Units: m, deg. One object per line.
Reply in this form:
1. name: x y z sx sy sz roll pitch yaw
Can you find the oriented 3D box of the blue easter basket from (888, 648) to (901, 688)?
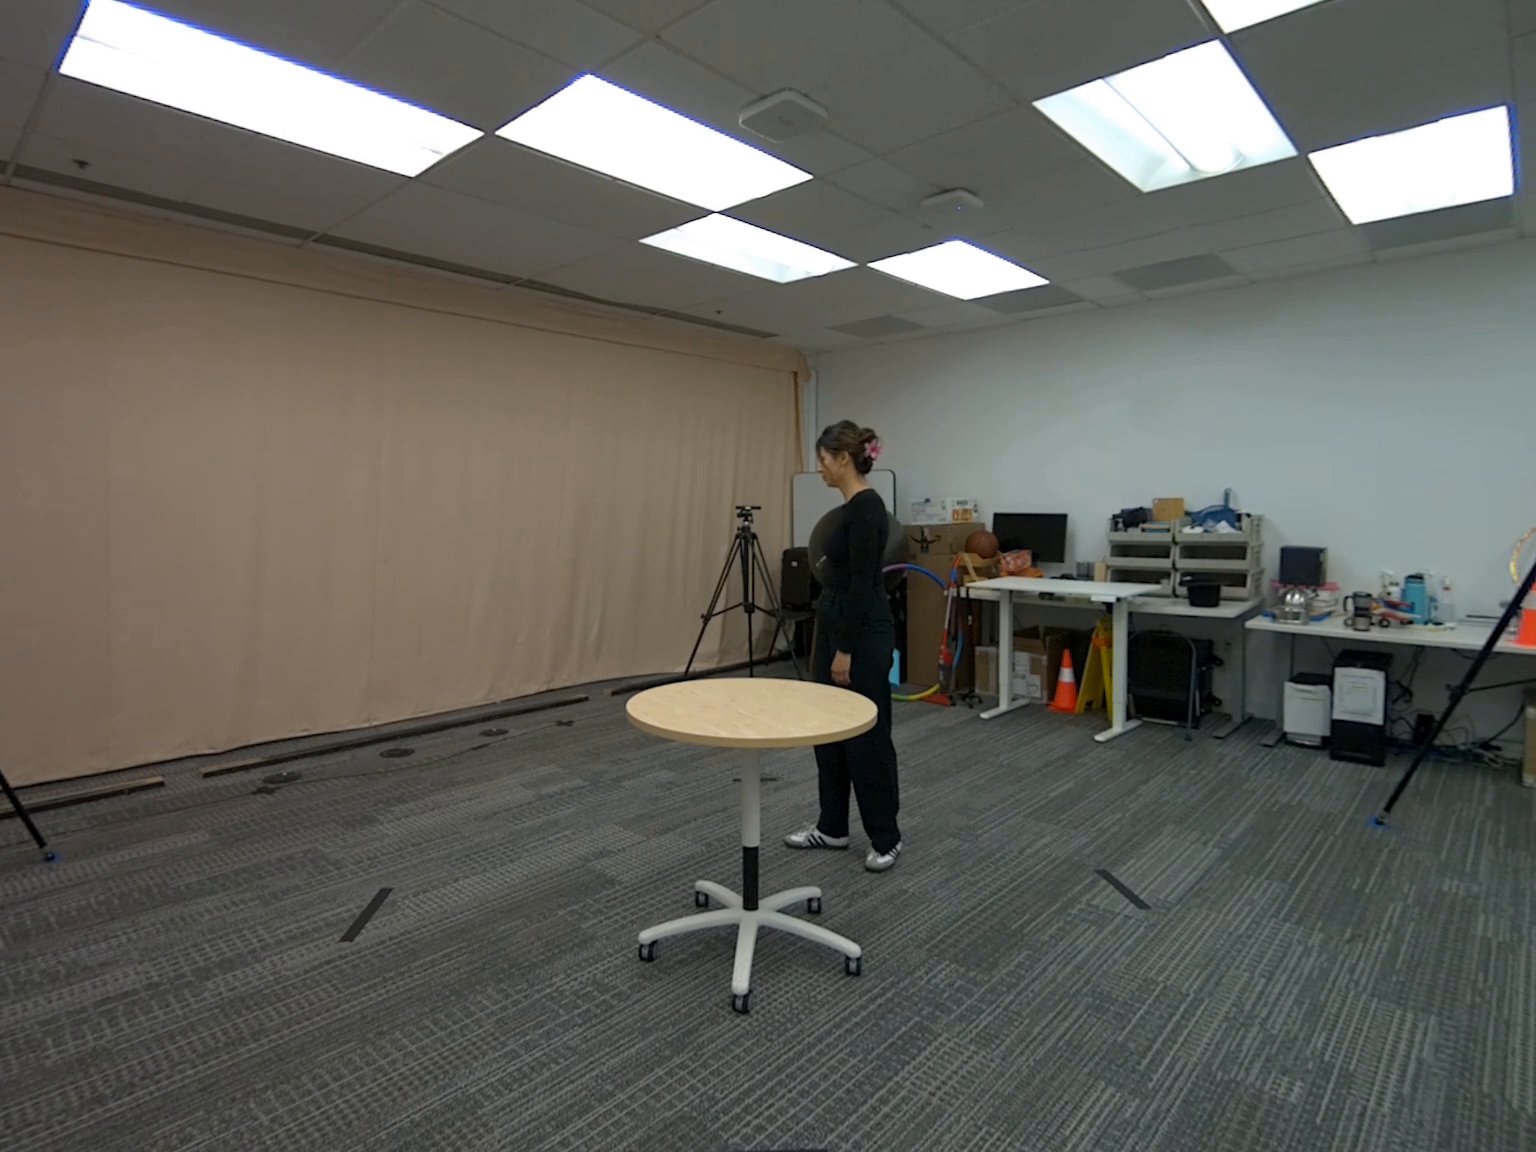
1. blue easter basket: 0.473 0.425 3.697 0.243 0.158 0.240 0 -30 -2
